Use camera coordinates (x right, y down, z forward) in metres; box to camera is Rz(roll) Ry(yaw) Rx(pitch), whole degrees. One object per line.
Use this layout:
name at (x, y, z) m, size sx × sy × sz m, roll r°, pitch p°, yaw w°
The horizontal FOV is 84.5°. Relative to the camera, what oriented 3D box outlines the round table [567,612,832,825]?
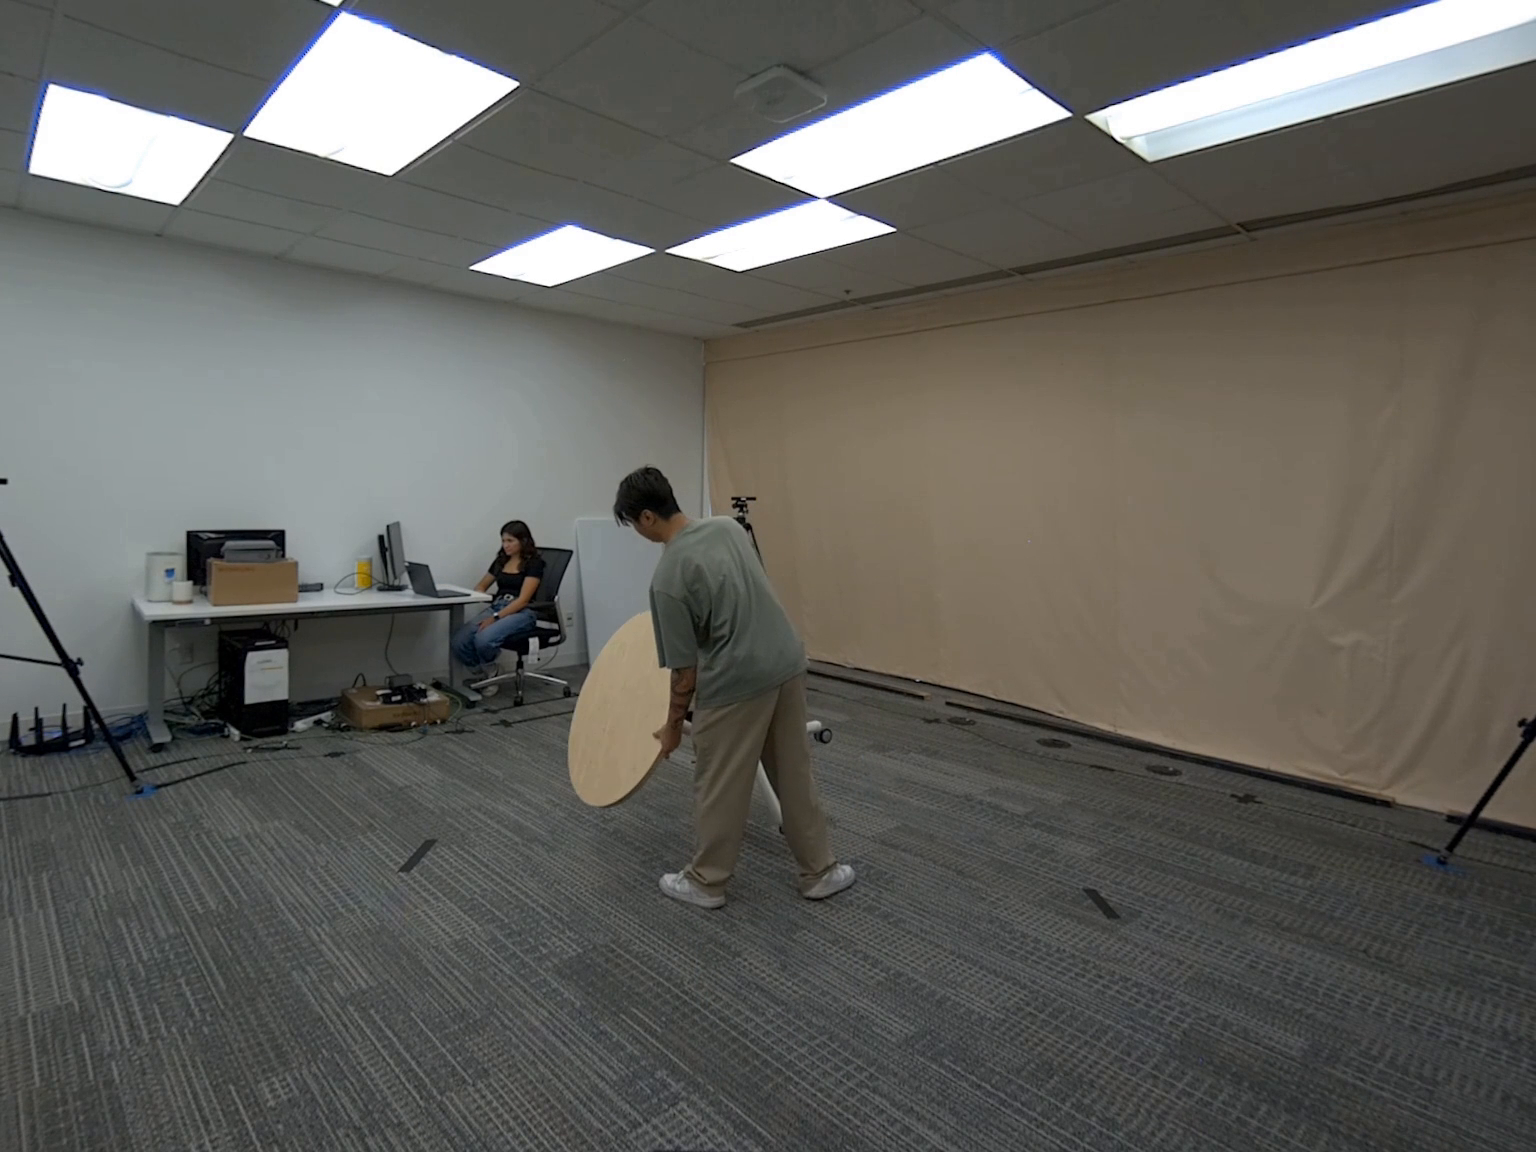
round table at (-0.274, 0.640, 3.407) m, size 0.765 × 0.788 × 0.804 m, roll 28°, pitch -11°, yaw -32°
